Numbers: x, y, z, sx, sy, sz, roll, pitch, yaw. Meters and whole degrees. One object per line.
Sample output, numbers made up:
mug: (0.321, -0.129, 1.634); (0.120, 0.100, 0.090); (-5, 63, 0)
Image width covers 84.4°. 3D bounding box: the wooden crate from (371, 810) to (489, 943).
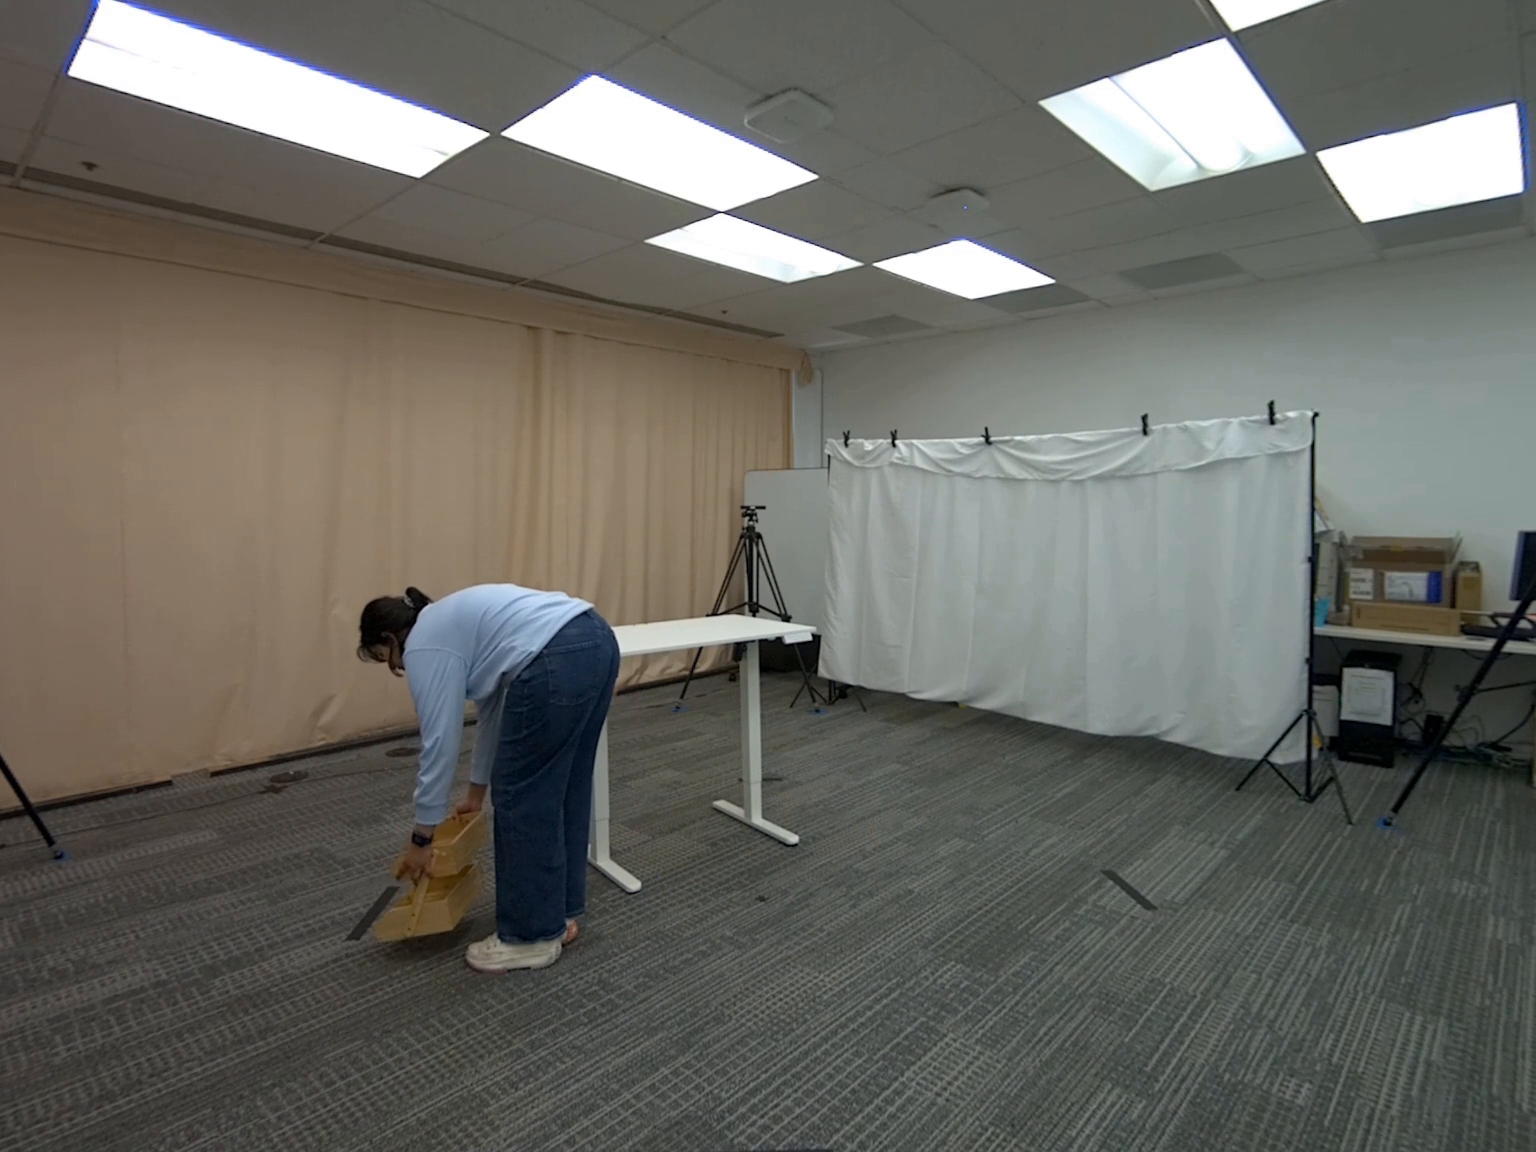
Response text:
wooden crate: (-1.087, 0.953, 2.706); (0.302, 0.273, 0.324); (-10, 2, 0)
